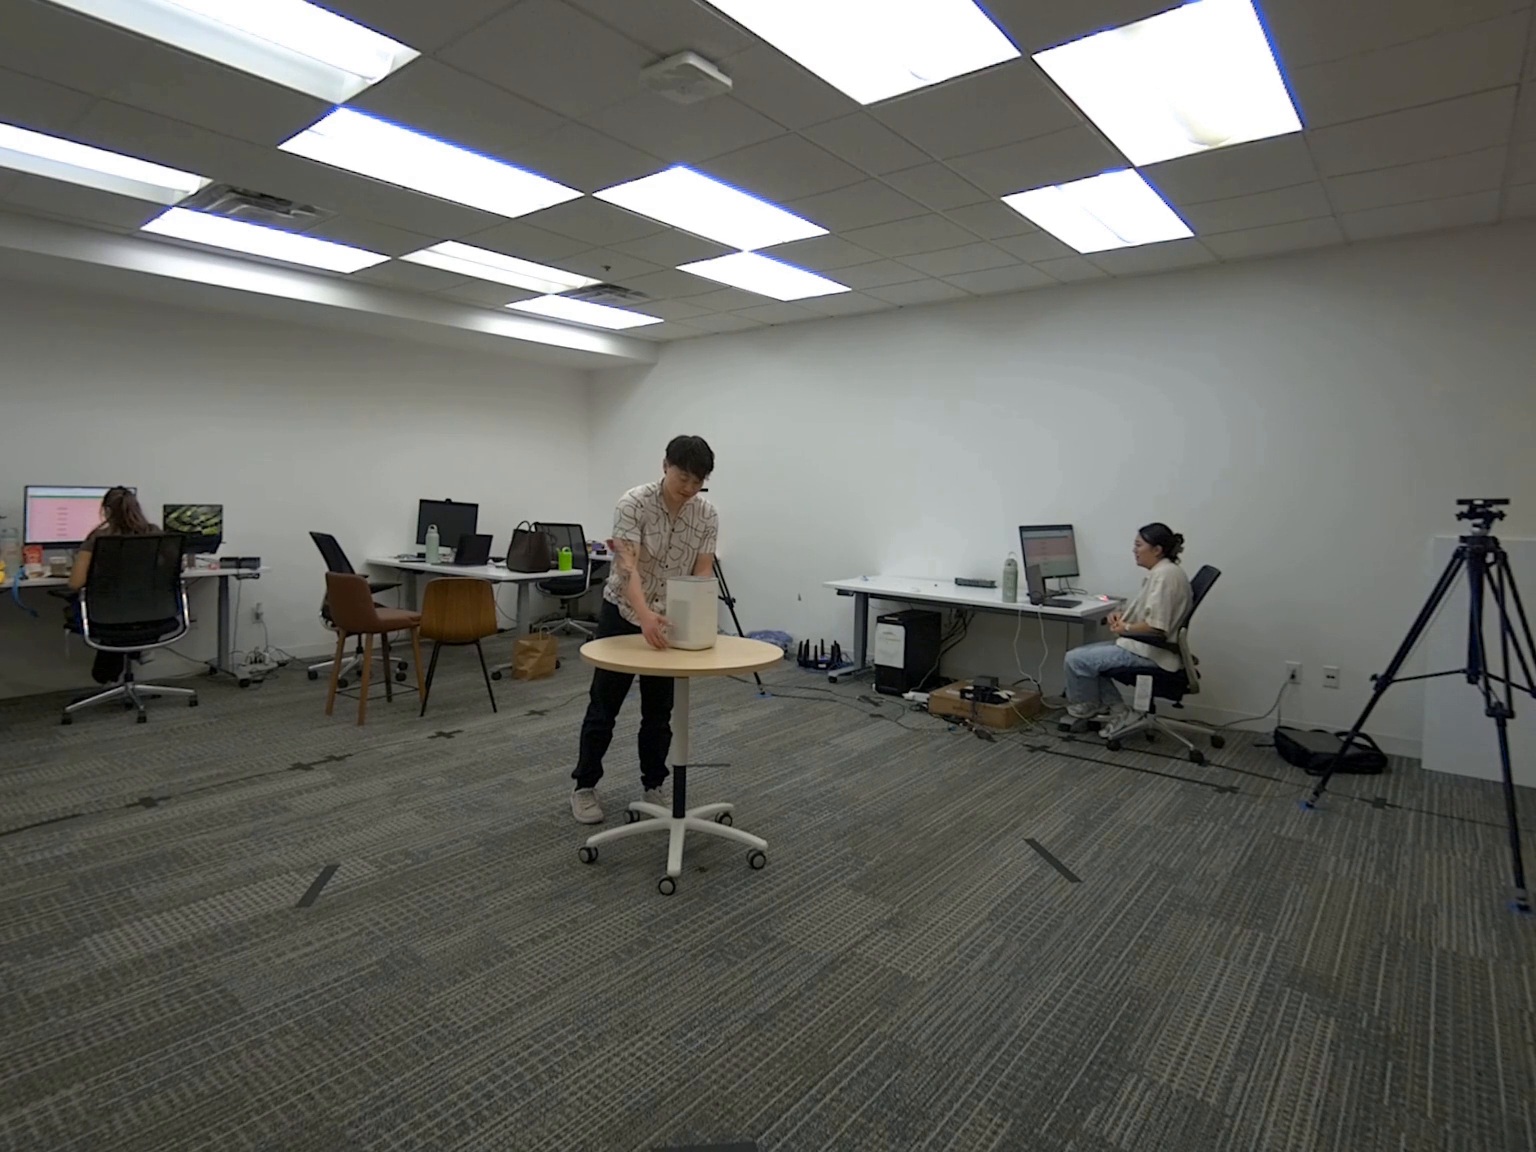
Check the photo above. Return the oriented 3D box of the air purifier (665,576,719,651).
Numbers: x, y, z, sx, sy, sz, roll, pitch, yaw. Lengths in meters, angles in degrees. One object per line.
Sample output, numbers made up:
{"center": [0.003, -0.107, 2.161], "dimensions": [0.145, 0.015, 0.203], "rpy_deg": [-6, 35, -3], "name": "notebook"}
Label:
{"center": [-0.306, 0.136, 3.264], "dimensions": [0.177, 0.264, 0.166], "rpy_deg": [4, 4, 30], "name": "air purifier"}
